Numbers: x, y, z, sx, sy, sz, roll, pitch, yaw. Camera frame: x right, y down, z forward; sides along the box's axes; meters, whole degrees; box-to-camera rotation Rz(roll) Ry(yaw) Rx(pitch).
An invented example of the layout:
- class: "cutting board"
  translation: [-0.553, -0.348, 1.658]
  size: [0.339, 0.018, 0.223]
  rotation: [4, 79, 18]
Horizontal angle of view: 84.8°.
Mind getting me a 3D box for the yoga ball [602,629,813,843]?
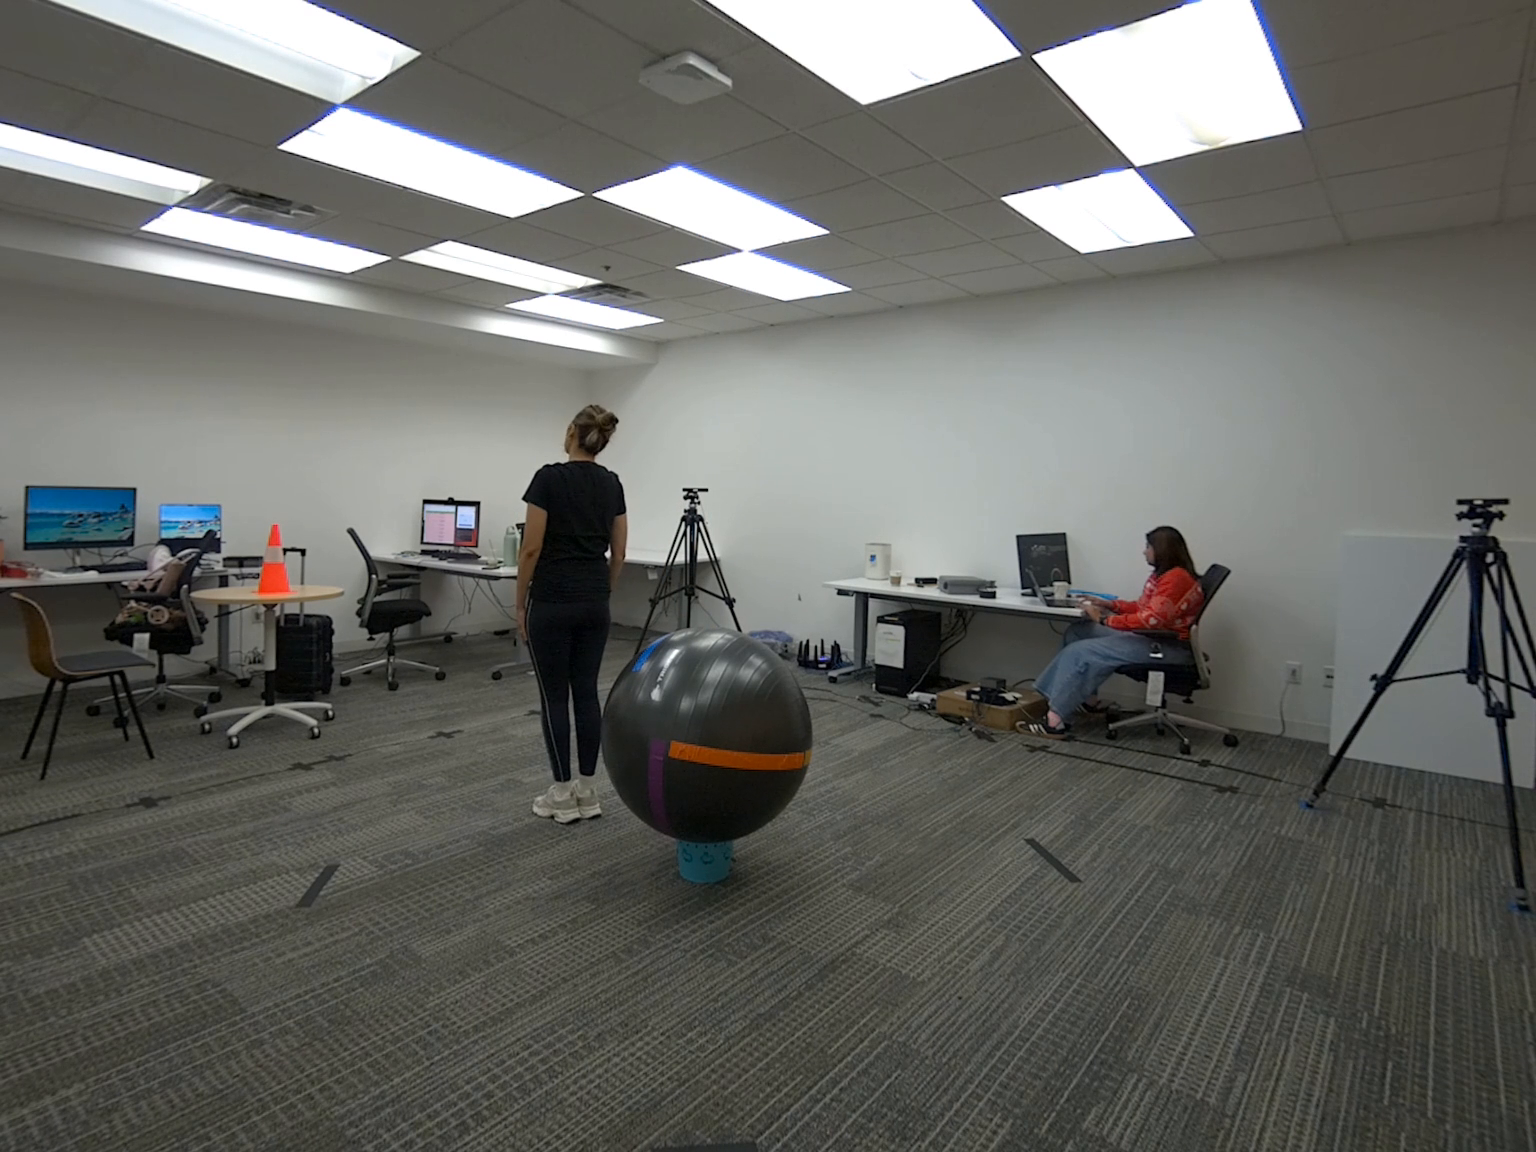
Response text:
- class: "yoga ball"
  translation: [-0.234, 0.560, 3.065]
  size: [0.757, 0.755, 0.762]
  rotation: [1, 4, -2]
